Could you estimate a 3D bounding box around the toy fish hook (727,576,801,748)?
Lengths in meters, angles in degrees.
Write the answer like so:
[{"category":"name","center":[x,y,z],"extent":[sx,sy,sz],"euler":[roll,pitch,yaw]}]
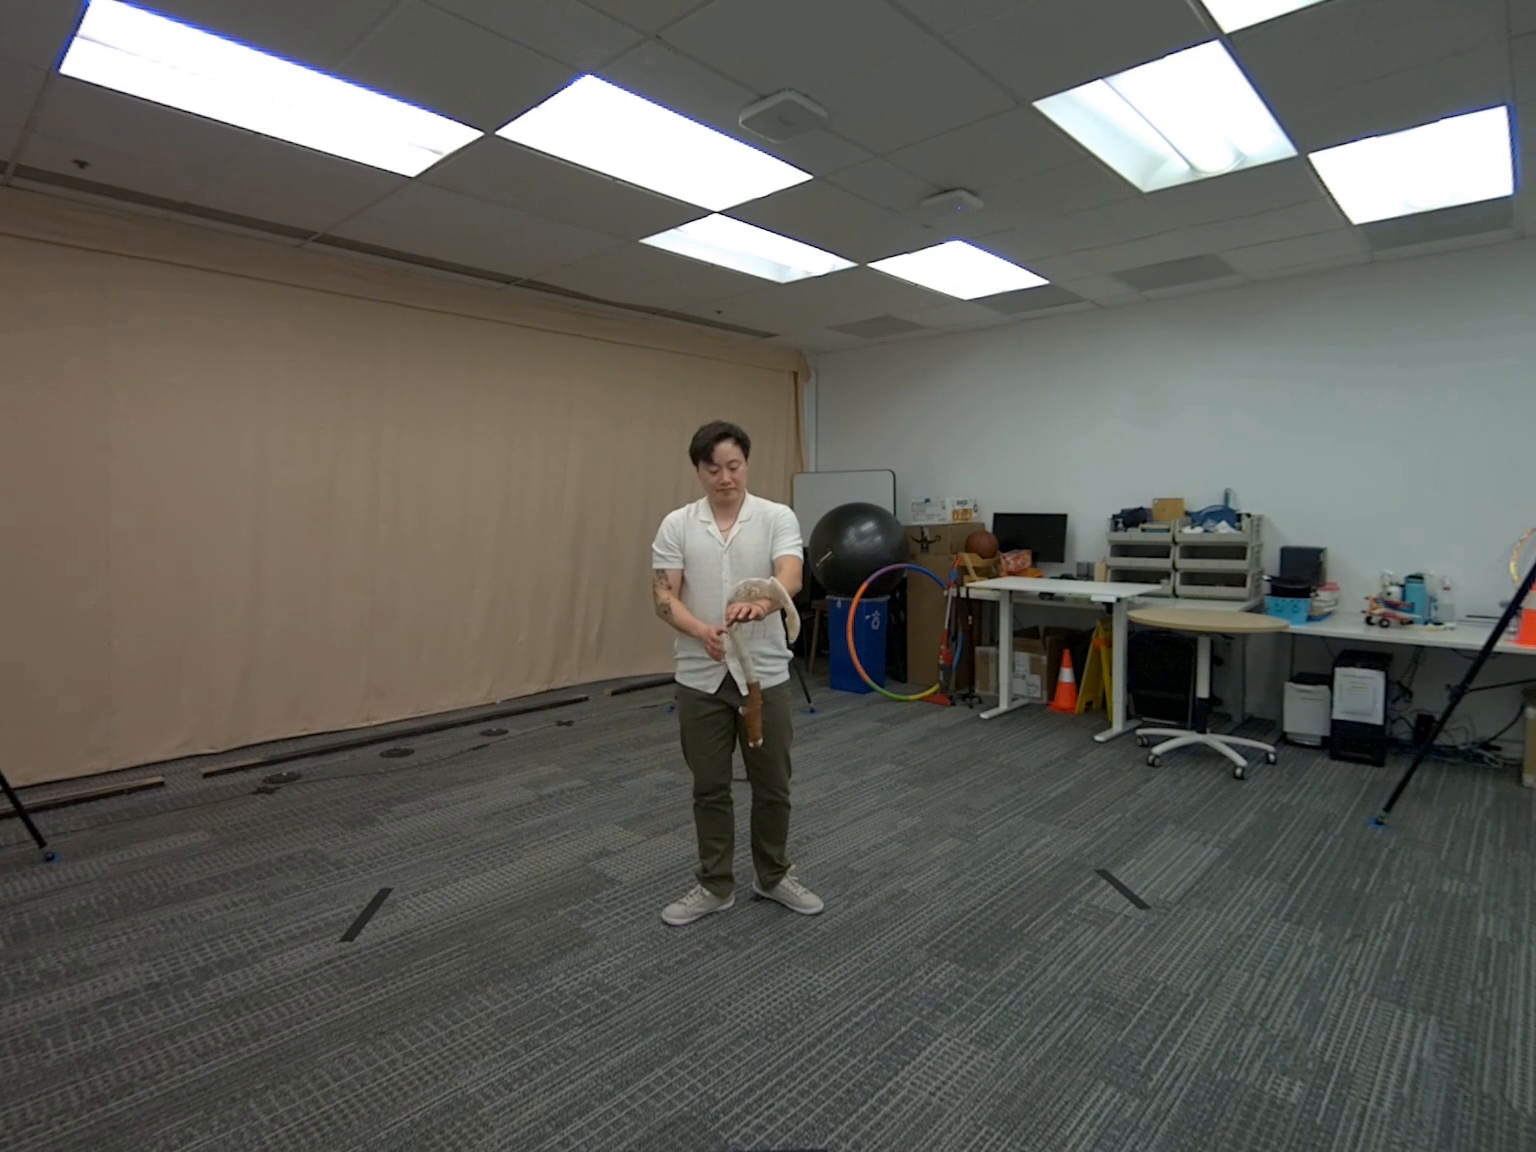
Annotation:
[{"category":"toy fish hook","center":[-0.006,0.255,2.491],"extent":[0.229,0.505,0.047],"euler":[-5,3,21]}]
